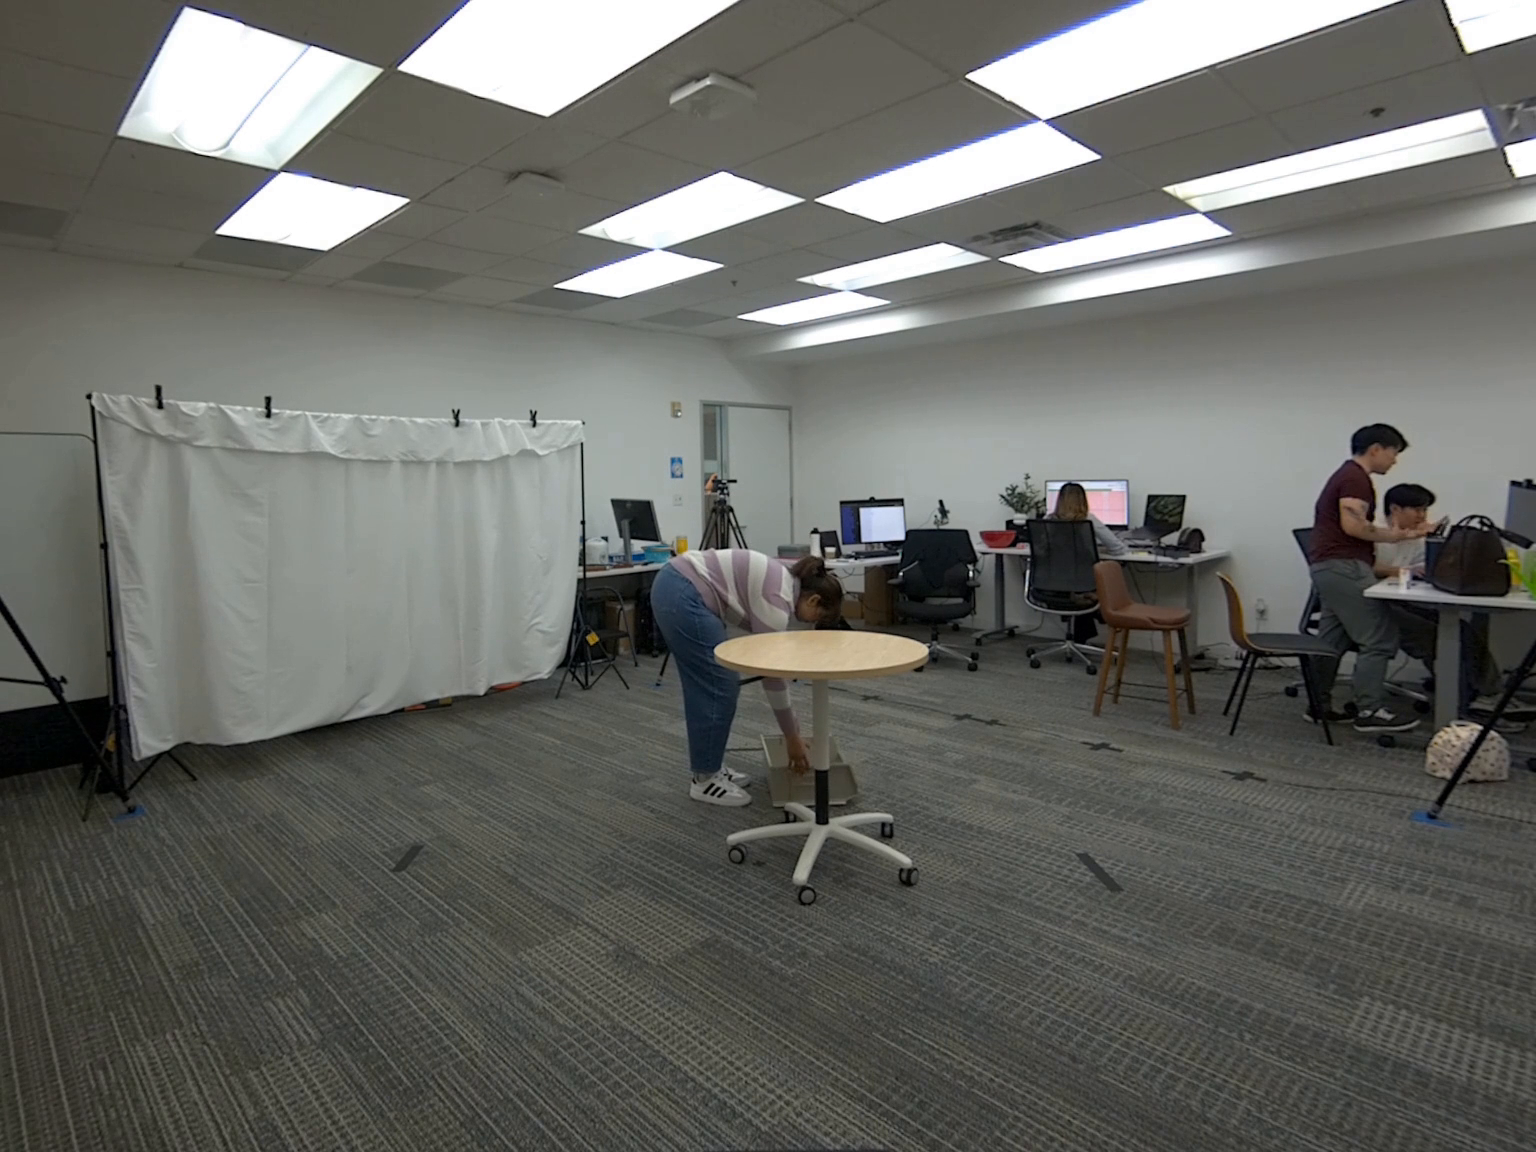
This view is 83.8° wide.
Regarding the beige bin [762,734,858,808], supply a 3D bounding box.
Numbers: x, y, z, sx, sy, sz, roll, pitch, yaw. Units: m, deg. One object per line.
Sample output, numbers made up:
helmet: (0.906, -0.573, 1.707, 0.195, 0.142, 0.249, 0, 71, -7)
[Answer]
beige bin: (0.176, 0.852, 3.830, 0.376, 0.188, 0.427, -3, 8, -5)
